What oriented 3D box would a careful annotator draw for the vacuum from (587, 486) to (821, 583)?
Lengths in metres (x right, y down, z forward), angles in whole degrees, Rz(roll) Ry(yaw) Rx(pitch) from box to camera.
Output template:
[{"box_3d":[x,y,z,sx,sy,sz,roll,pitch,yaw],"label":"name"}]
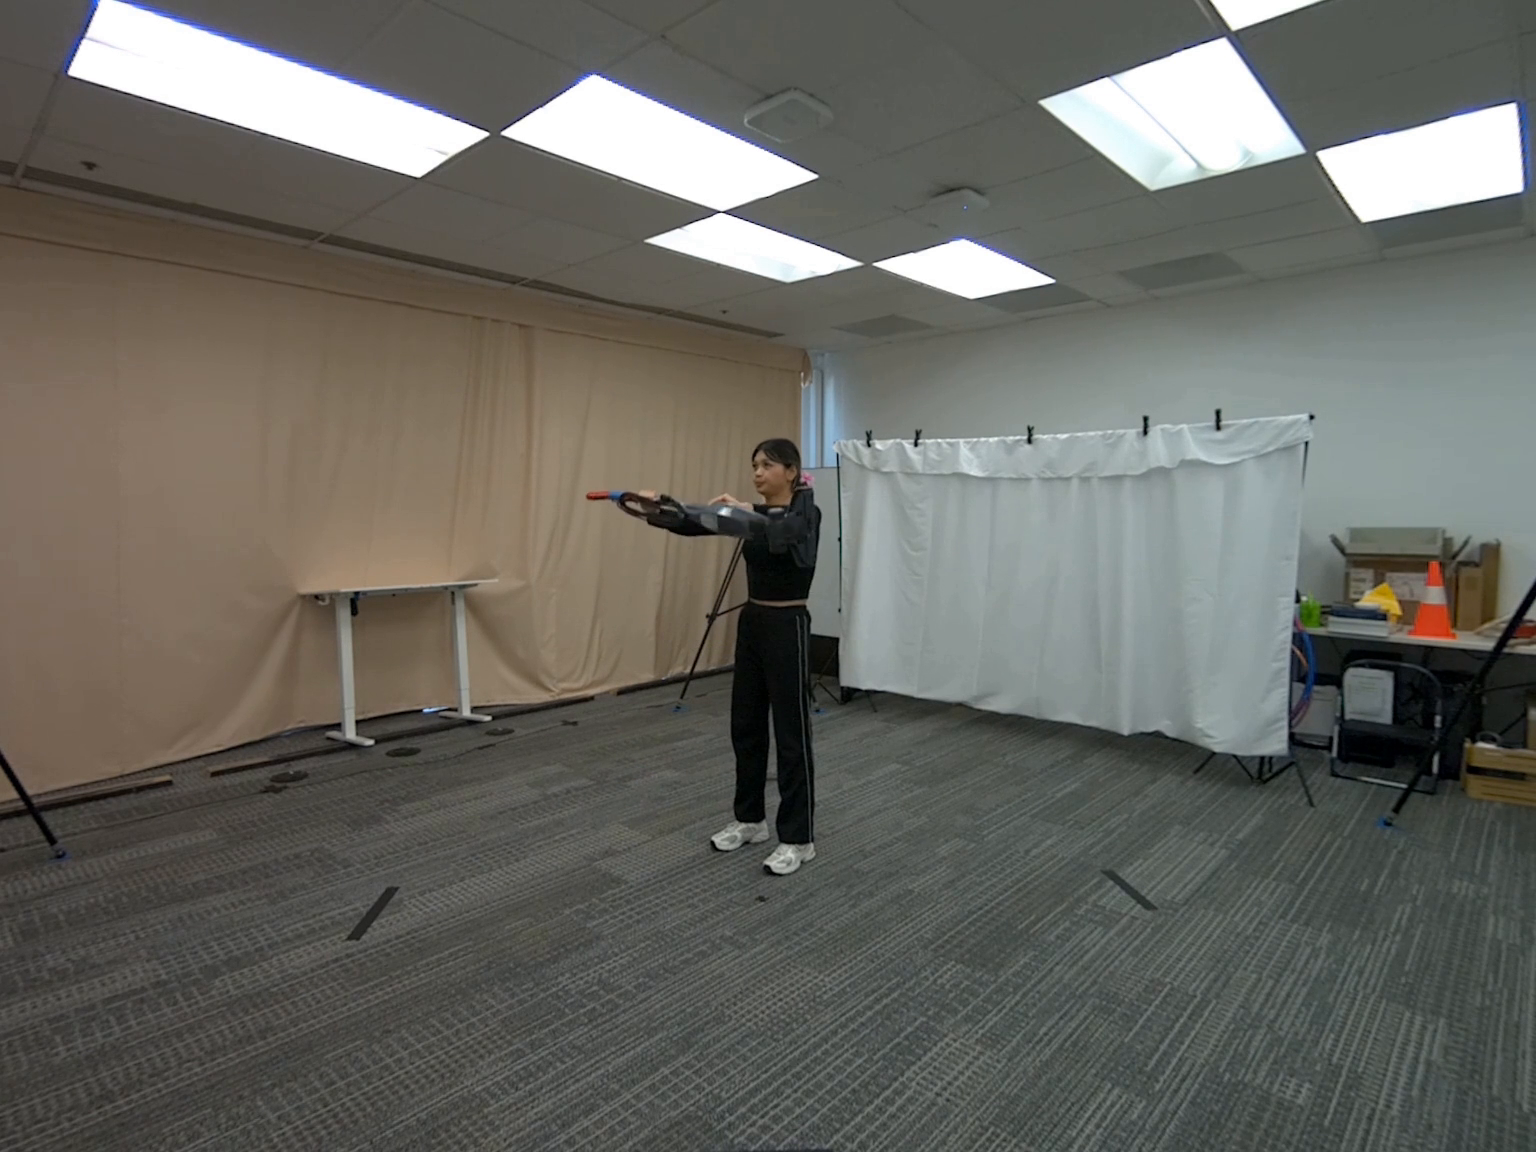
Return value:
[{"box_3d":[-0.299,-0.224,2.973,1.087,0.249,0.141,11,24,43],"label":"vacuum"}]
